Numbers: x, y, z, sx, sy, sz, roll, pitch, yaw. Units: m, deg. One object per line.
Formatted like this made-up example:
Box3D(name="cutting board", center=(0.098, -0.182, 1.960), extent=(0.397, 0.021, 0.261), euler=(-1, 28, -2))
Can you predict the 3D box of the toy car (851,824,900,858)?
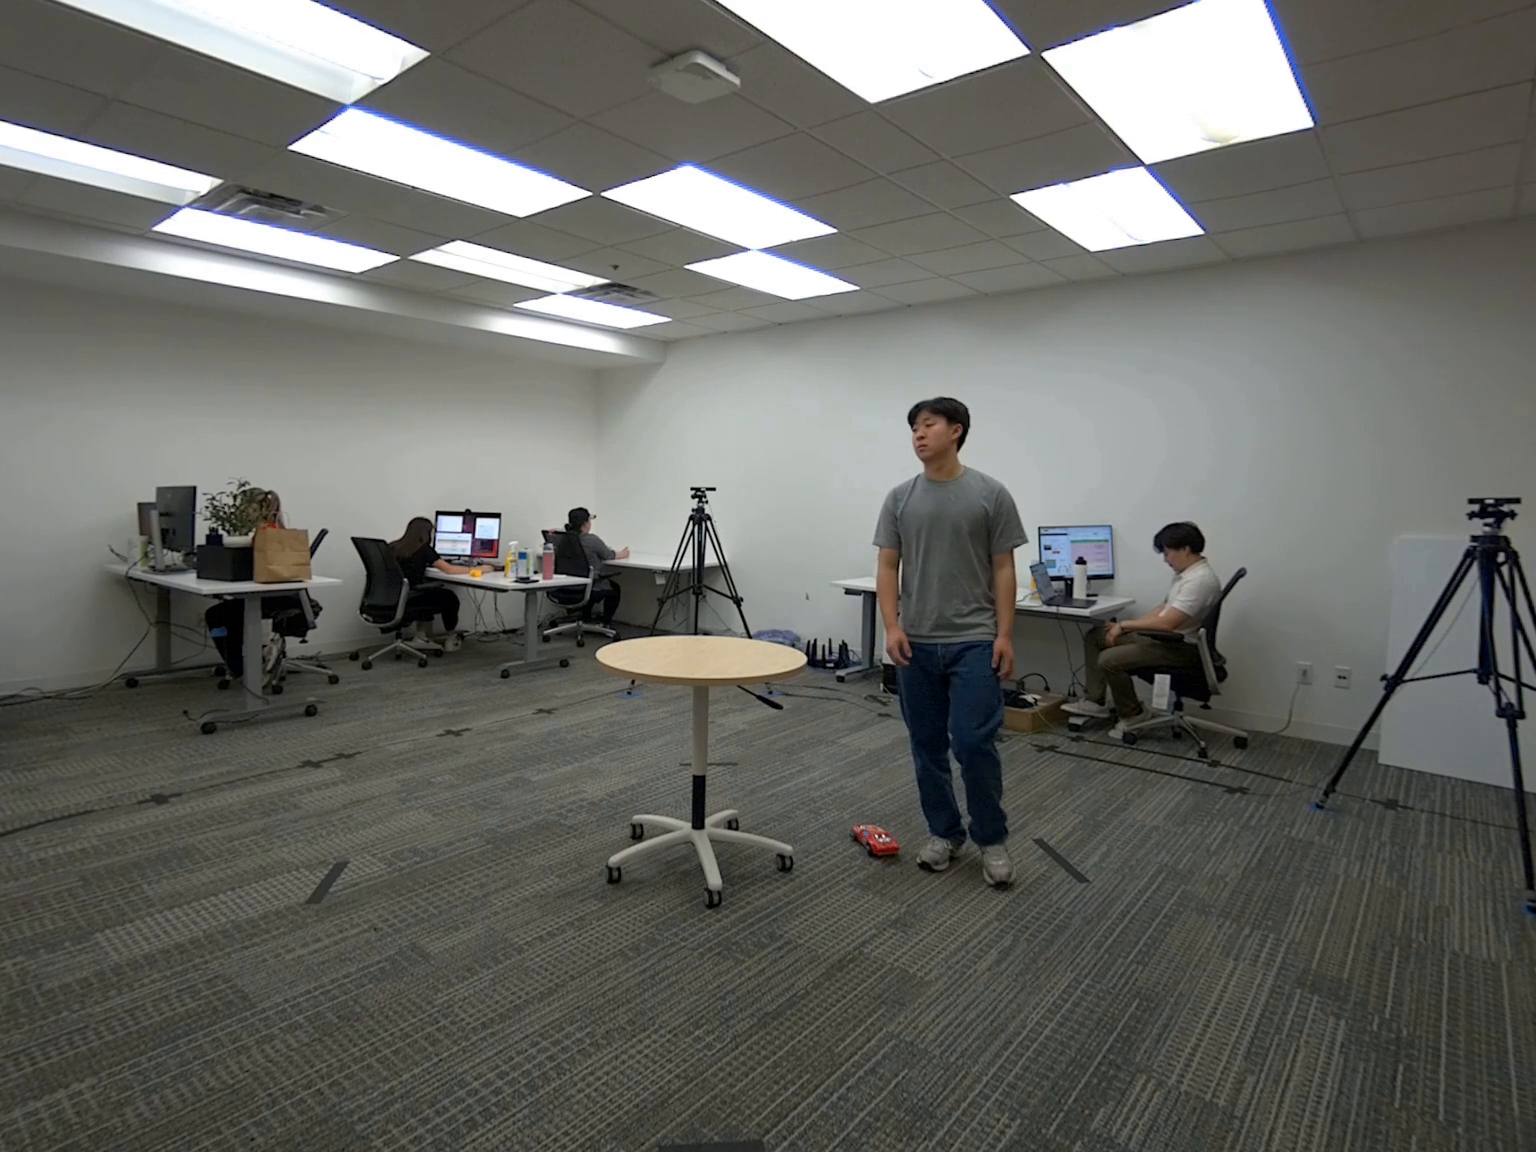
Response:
Box3D(name="toy car", center=(0.415, 1.028, 3.317), extent=(0.128, 0.084, 0.257), euler=(0, -5, -18))
